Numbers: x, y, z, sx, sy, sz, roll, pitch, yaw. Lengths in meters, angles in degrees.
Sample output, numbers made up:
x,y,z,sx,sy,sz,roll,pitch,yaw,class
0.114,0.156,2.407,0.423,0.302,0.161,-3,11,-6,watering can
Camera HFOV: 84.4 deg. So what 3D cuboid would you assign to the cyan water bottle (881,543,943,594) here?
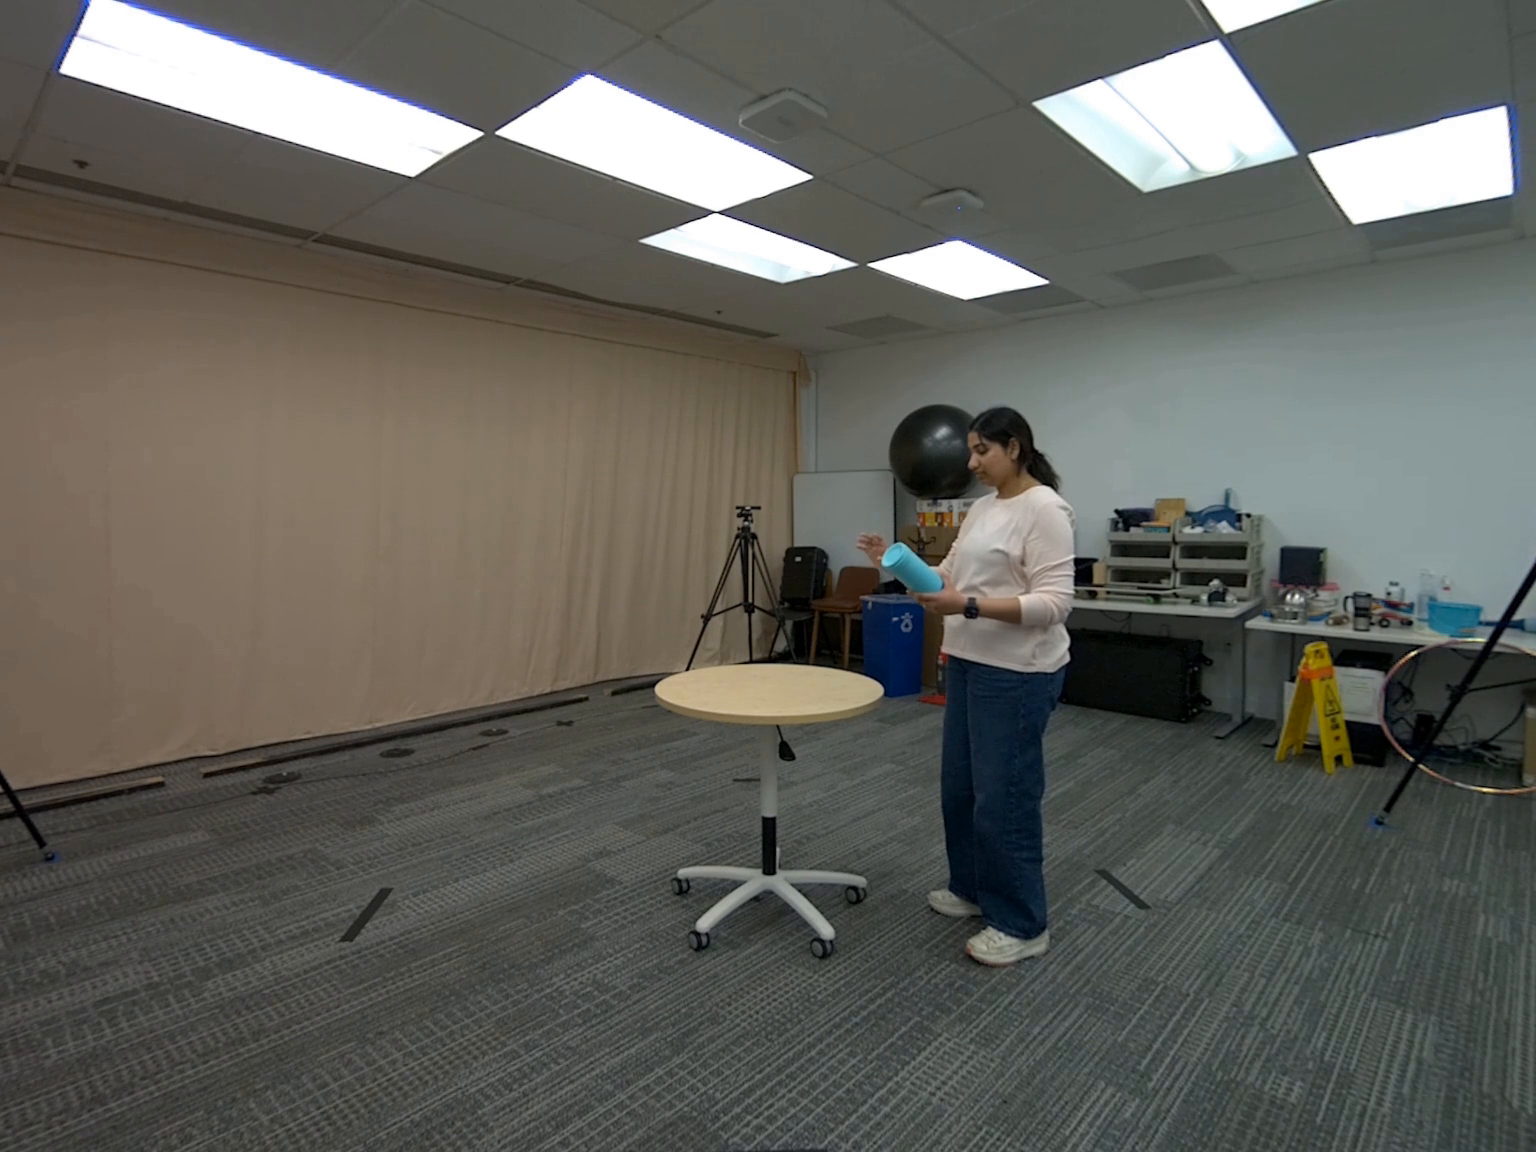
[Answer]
x,y,z,sx,sy,sz,roll,pitch,yaw,class
0.473,0.016,2.521,0.277,0.092,0.094,39,-12,-20,cyan water bottle
